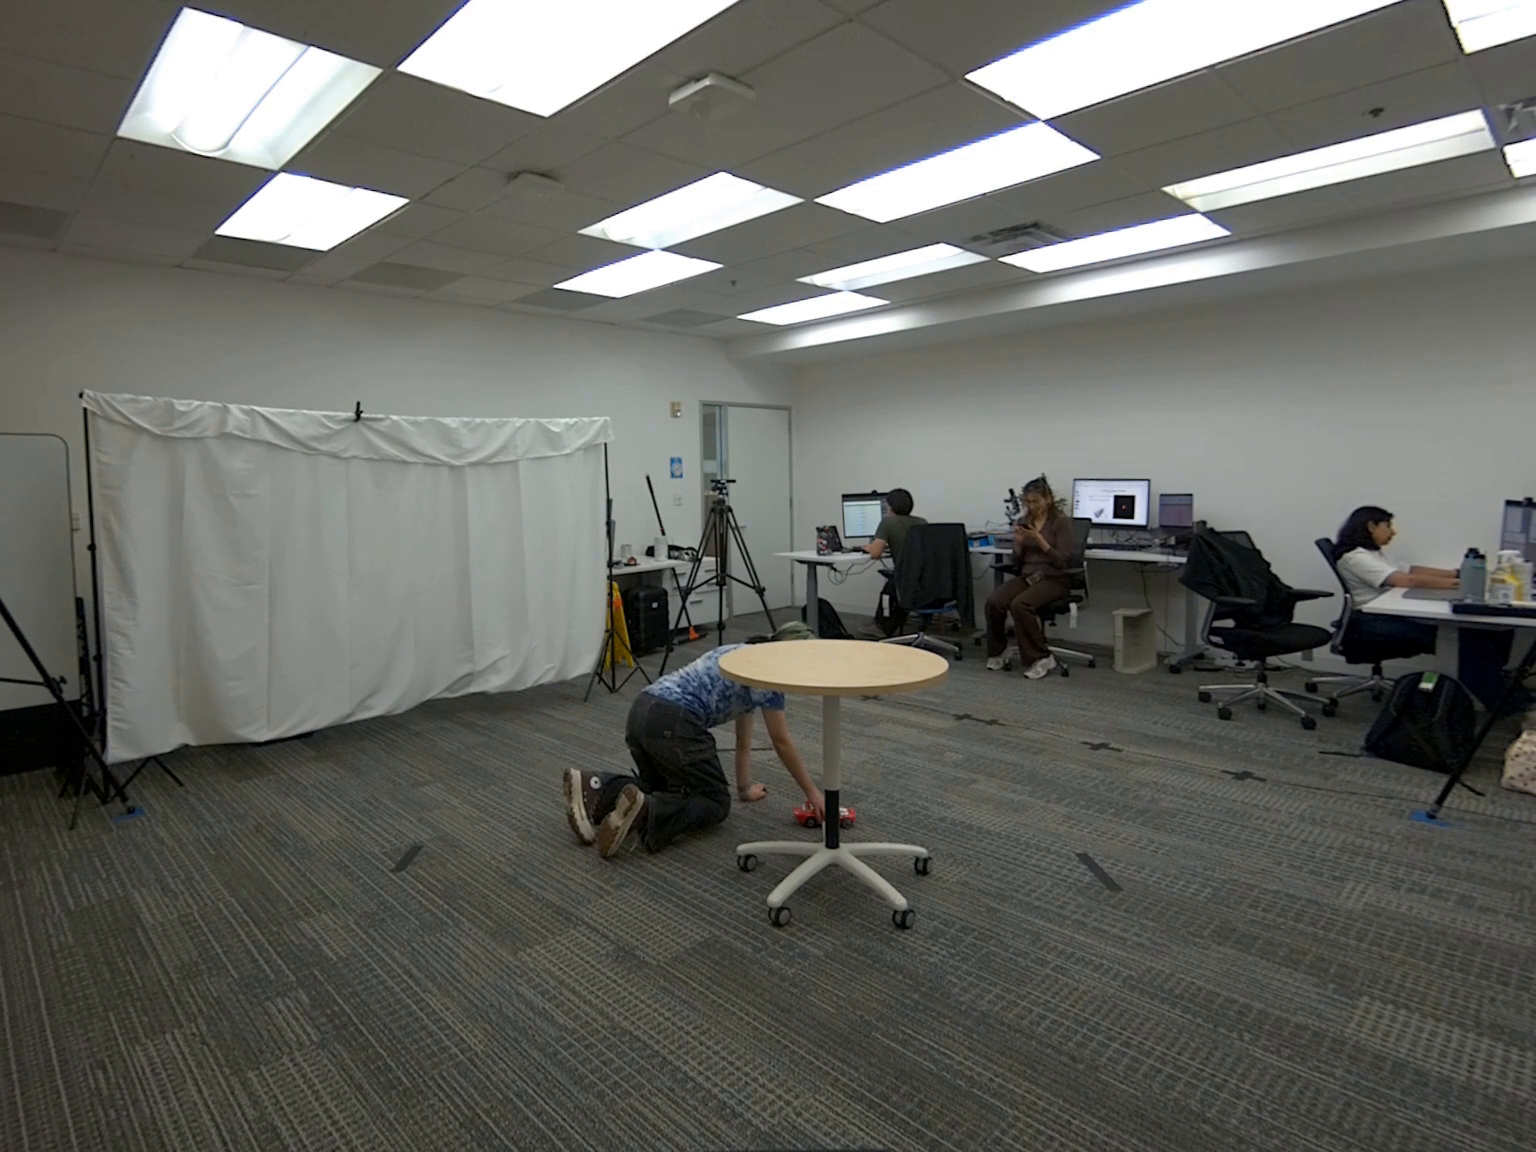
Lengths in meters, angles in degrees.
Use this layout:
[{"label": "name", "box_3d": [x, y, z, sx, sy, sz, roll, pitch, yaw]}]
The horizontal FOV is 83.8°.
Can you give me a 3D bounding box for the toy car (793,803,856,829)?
[{"label": "toy car", "box_3d": [0.221, 0.971, 3.468, 0.255, 0.083, 0.130, 10, 6, 2]}]
